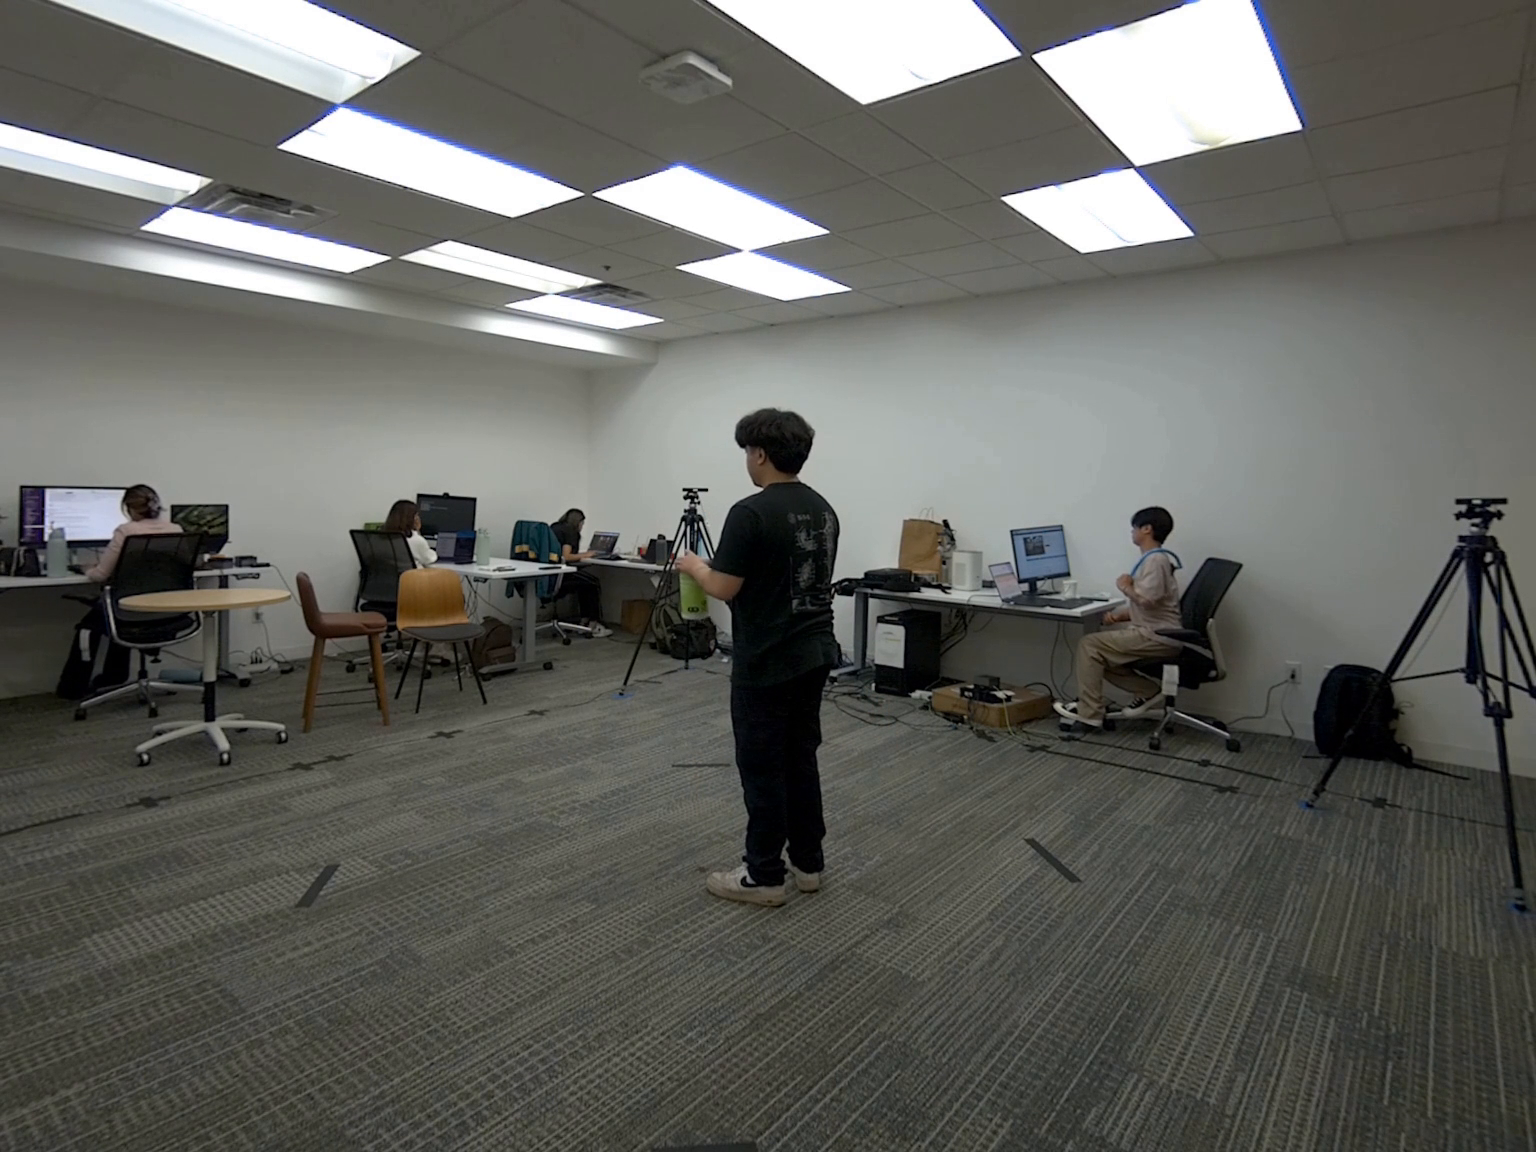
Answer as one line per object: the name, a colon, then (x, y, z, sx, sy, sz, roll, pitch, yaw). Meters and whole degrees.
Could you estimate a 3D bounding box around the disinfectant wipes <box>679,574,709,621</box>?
disinfectant wipes: (-0.290, 0.052, 3.158, 0.118, 0.216, 0.119, -2, 7, -2)
